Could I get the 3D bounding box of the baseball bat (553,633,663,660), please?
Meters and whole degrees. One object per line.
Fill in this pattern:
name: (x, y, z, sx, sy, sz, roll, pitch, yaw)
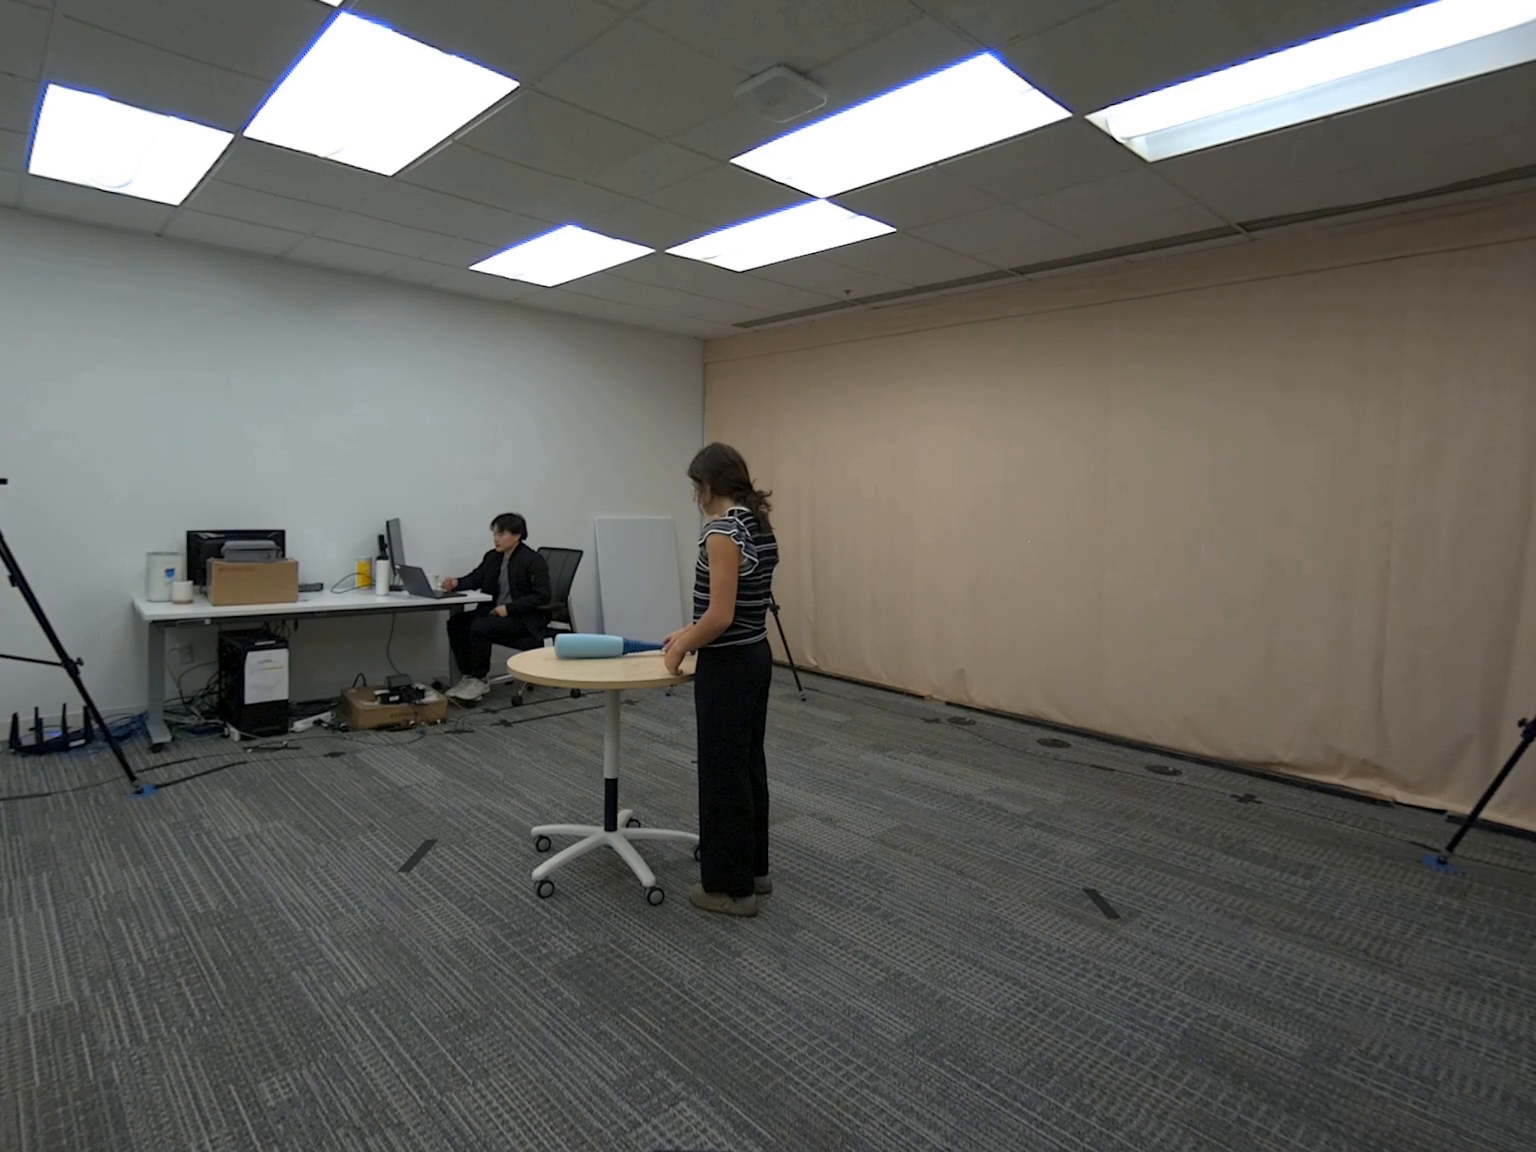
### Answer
baseball bat: (-0.544, 0.271, 3.196, 0.535, 0.089, 0.090, 3, 3, -19)
